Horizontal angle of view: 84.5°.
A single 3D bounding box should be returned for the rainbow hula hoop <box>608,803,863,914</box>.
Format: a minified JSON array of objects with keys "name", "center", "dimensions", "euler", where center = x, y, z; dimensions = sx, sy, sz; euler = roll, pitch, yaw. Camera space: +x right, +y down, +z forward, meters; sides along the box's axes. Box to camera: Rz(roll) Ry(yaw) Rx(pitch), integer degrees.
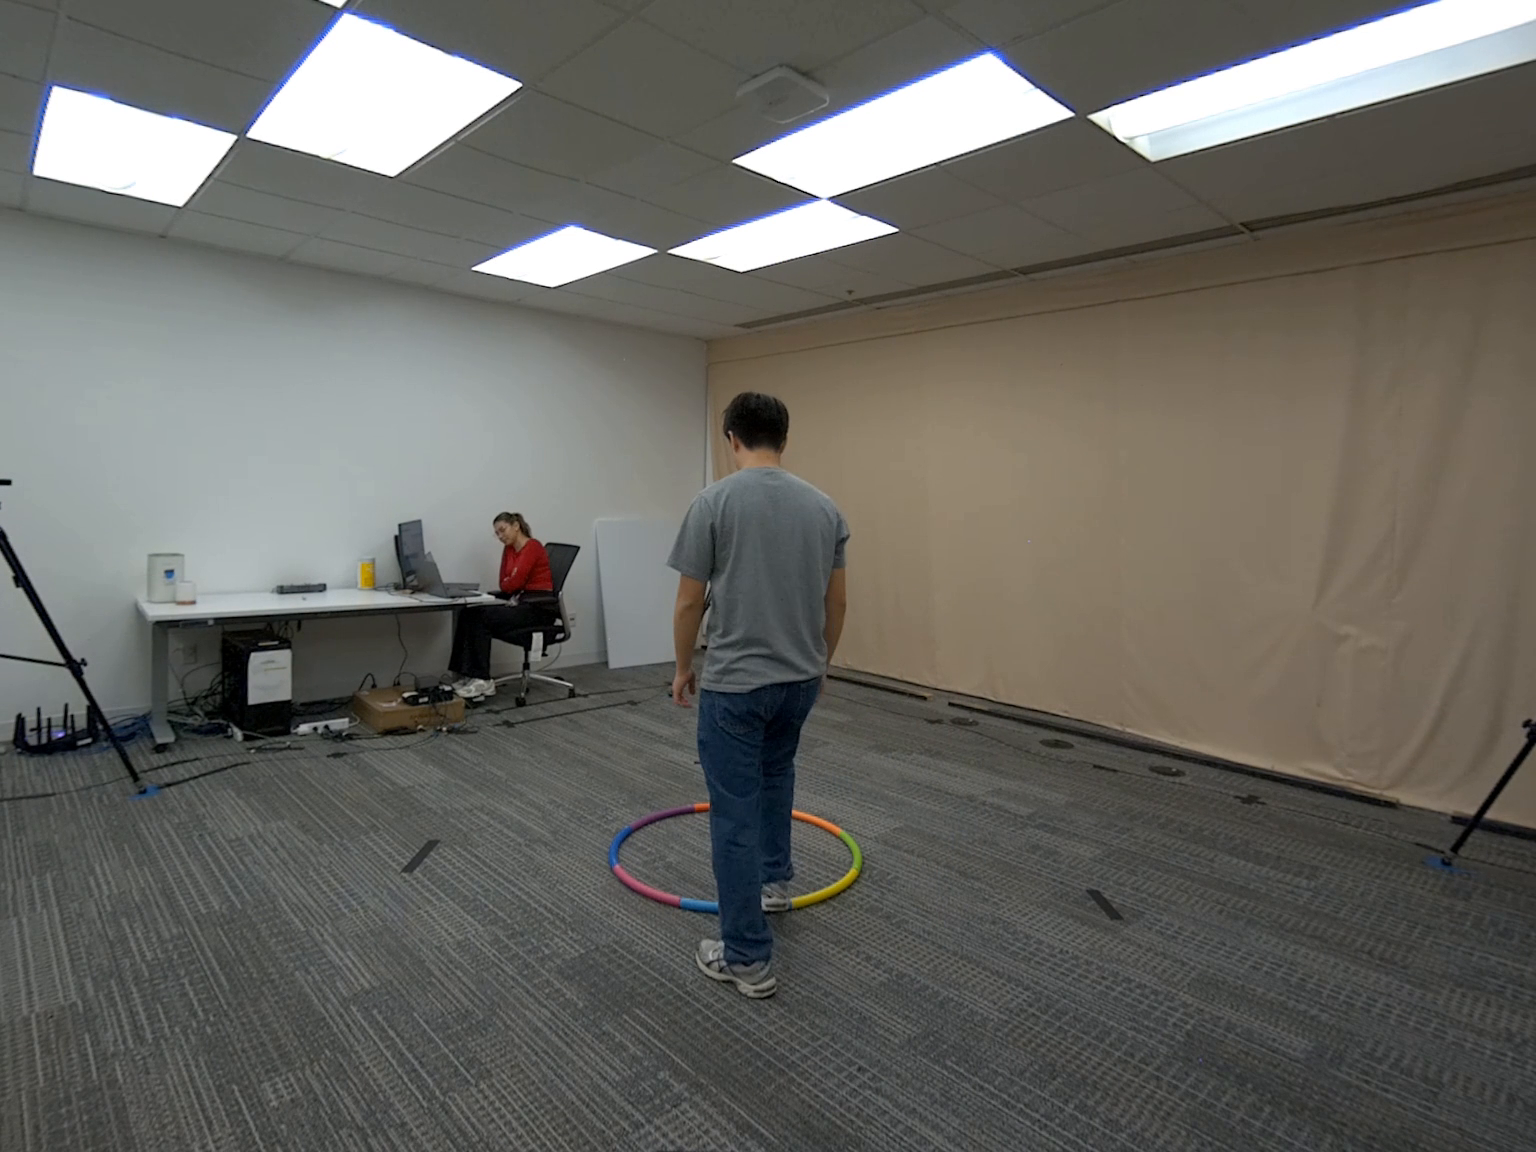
[{"name":"rainbow hula hoop","center":[-0.142,1.058,3.301],"dimensions":[0.978,0.035,0.982],"euler":[1,5,-1]}]
